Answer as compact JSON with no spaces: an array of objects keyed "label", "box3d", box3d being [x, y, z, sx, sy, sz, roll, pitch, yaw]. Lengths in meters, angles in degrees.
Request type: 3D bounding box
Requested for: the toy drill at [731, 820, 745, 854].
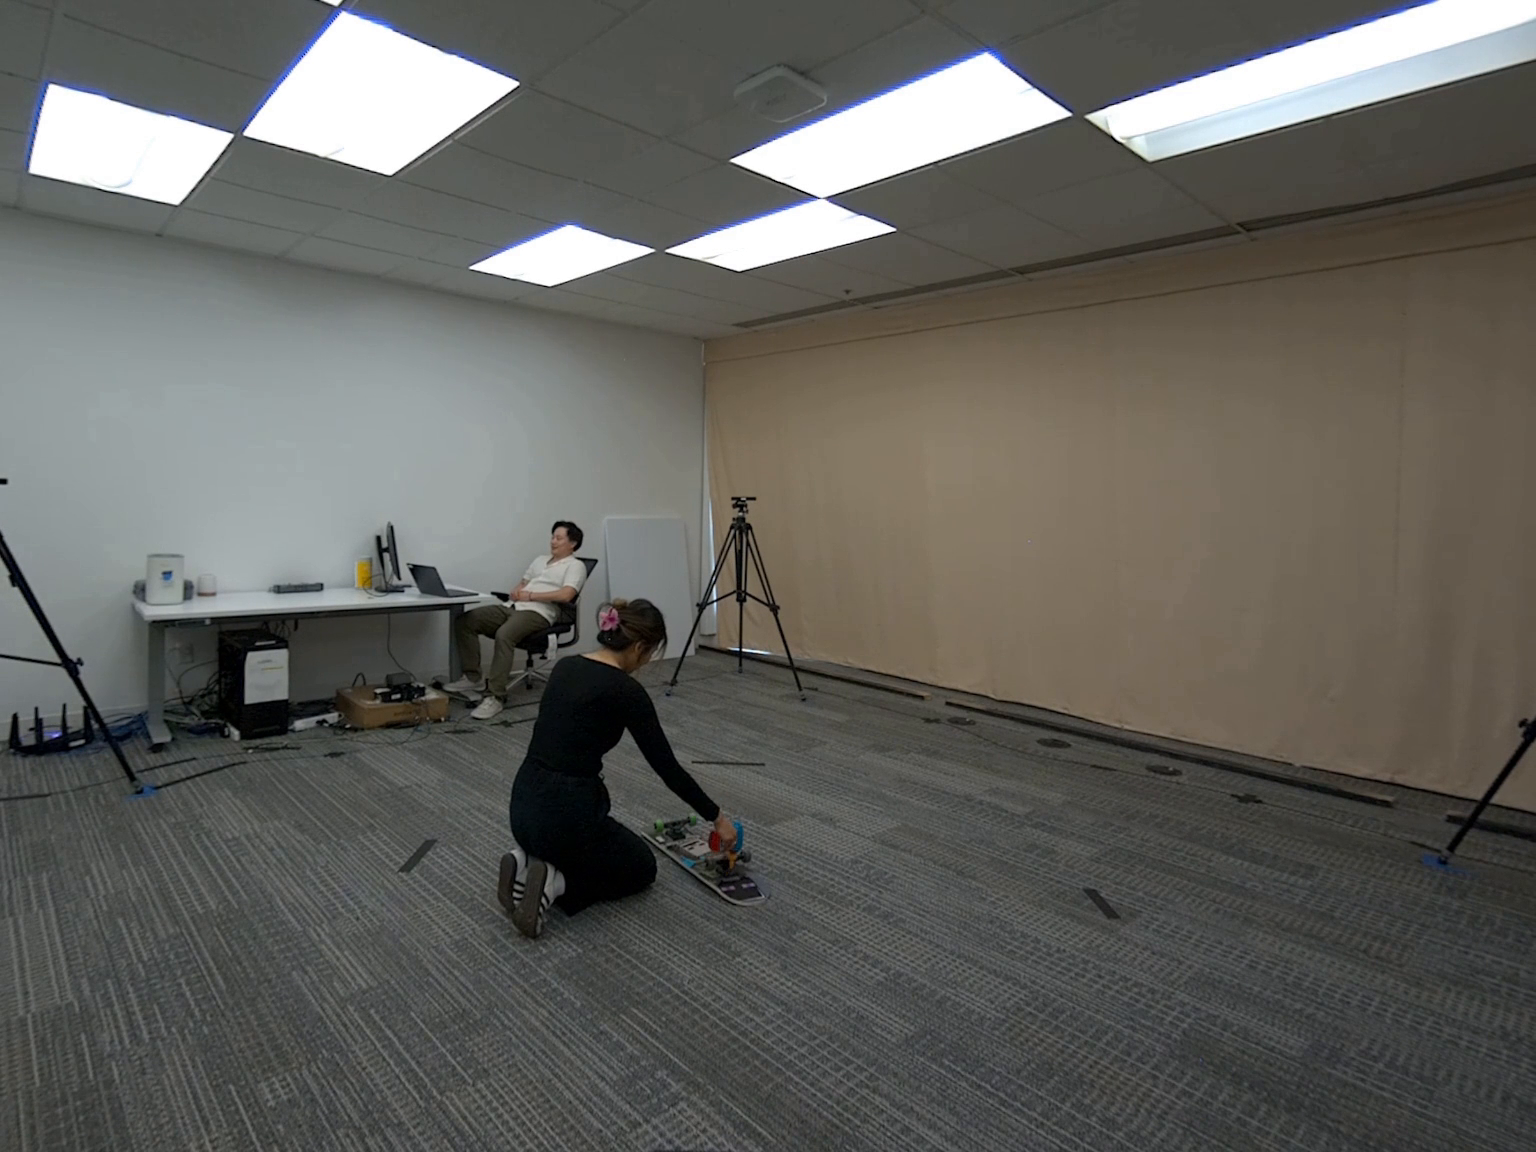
[{"label":"toy drill","box3d":[-0.151,0.966,2.975,0.063,0.169,0.142,14,8,42]}]
